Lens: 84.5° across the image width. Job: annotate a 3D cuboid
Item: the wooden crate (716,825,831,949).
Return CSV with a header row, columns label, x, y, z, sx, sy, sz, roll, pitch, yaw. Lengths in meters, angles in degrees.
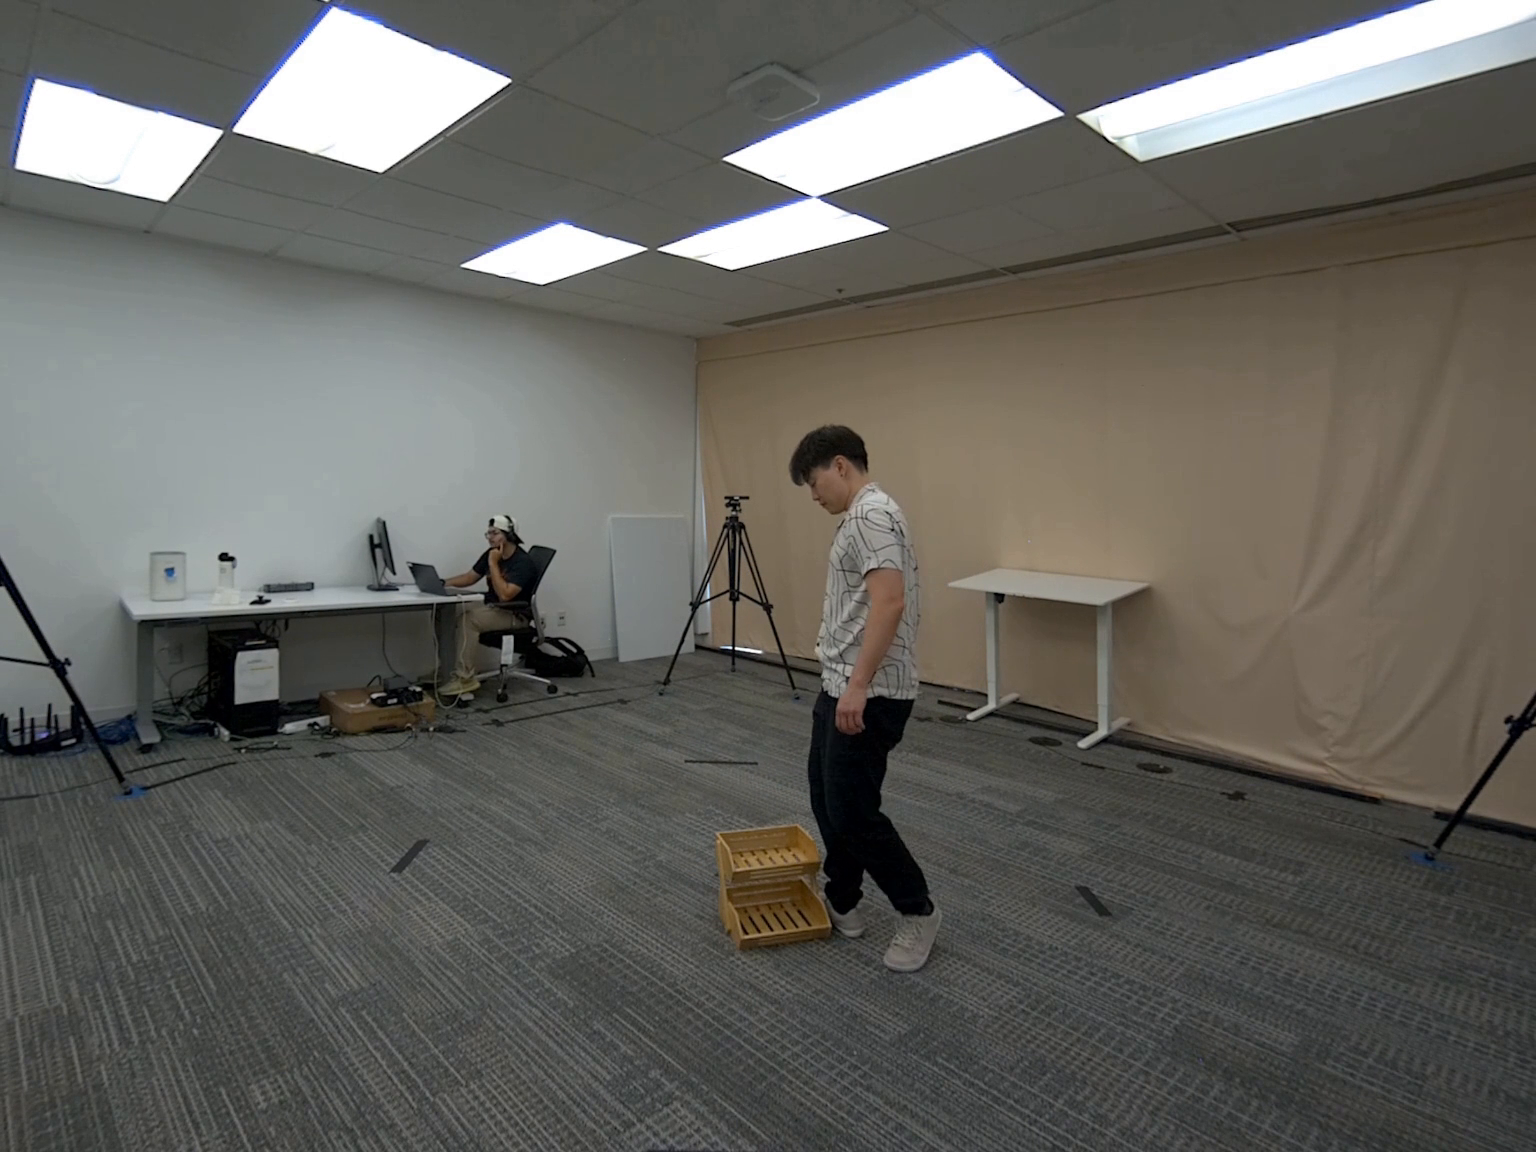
label,x,y,z,sx,sy,sz,roll,pitch,yaw
wooden crate,0.009,1.006,2.744,0.320,0.272,0.307,0,4,-19
